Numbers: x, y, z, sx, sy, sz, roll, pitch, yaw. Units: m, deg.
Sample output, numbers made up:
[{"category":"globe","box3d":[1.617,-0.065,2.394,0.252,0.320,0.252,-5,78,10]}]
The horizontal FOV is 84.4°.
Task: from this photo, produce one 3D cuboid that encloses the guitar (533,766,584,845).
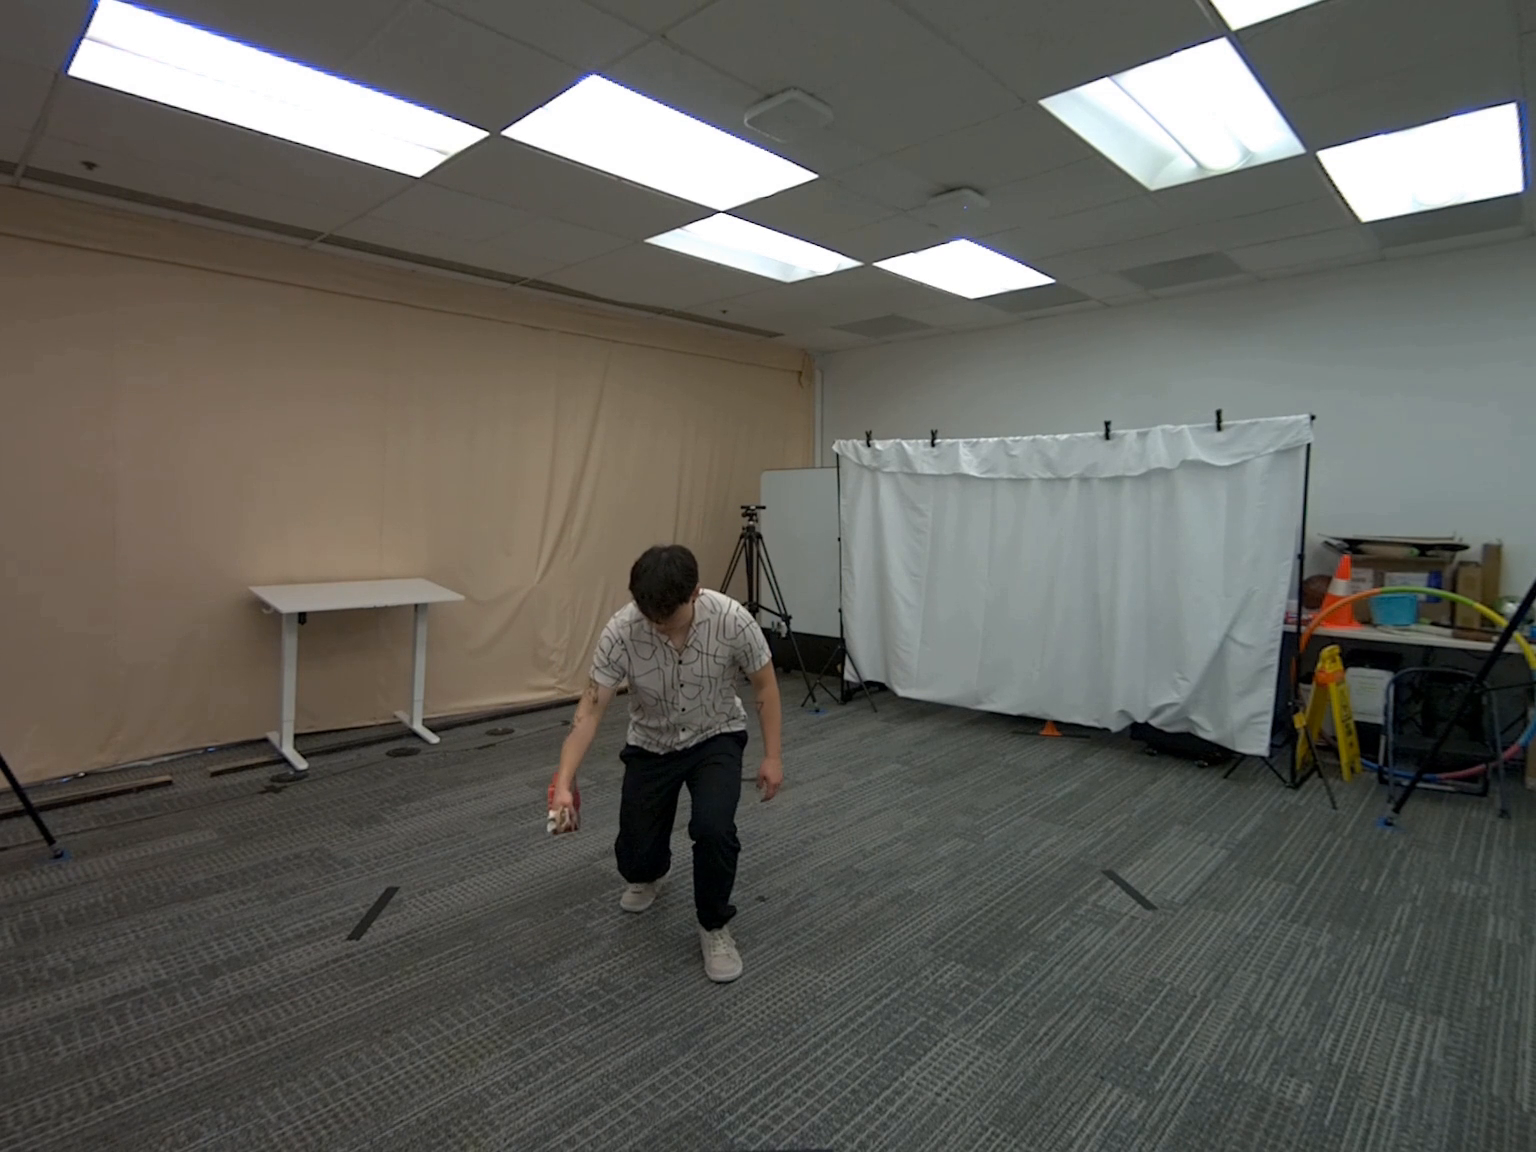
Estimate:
[{"category":"guitar","box3d":[-0.619,0.676,2.523,0.070,0.195,0.495,-5,-14,-7]}]
